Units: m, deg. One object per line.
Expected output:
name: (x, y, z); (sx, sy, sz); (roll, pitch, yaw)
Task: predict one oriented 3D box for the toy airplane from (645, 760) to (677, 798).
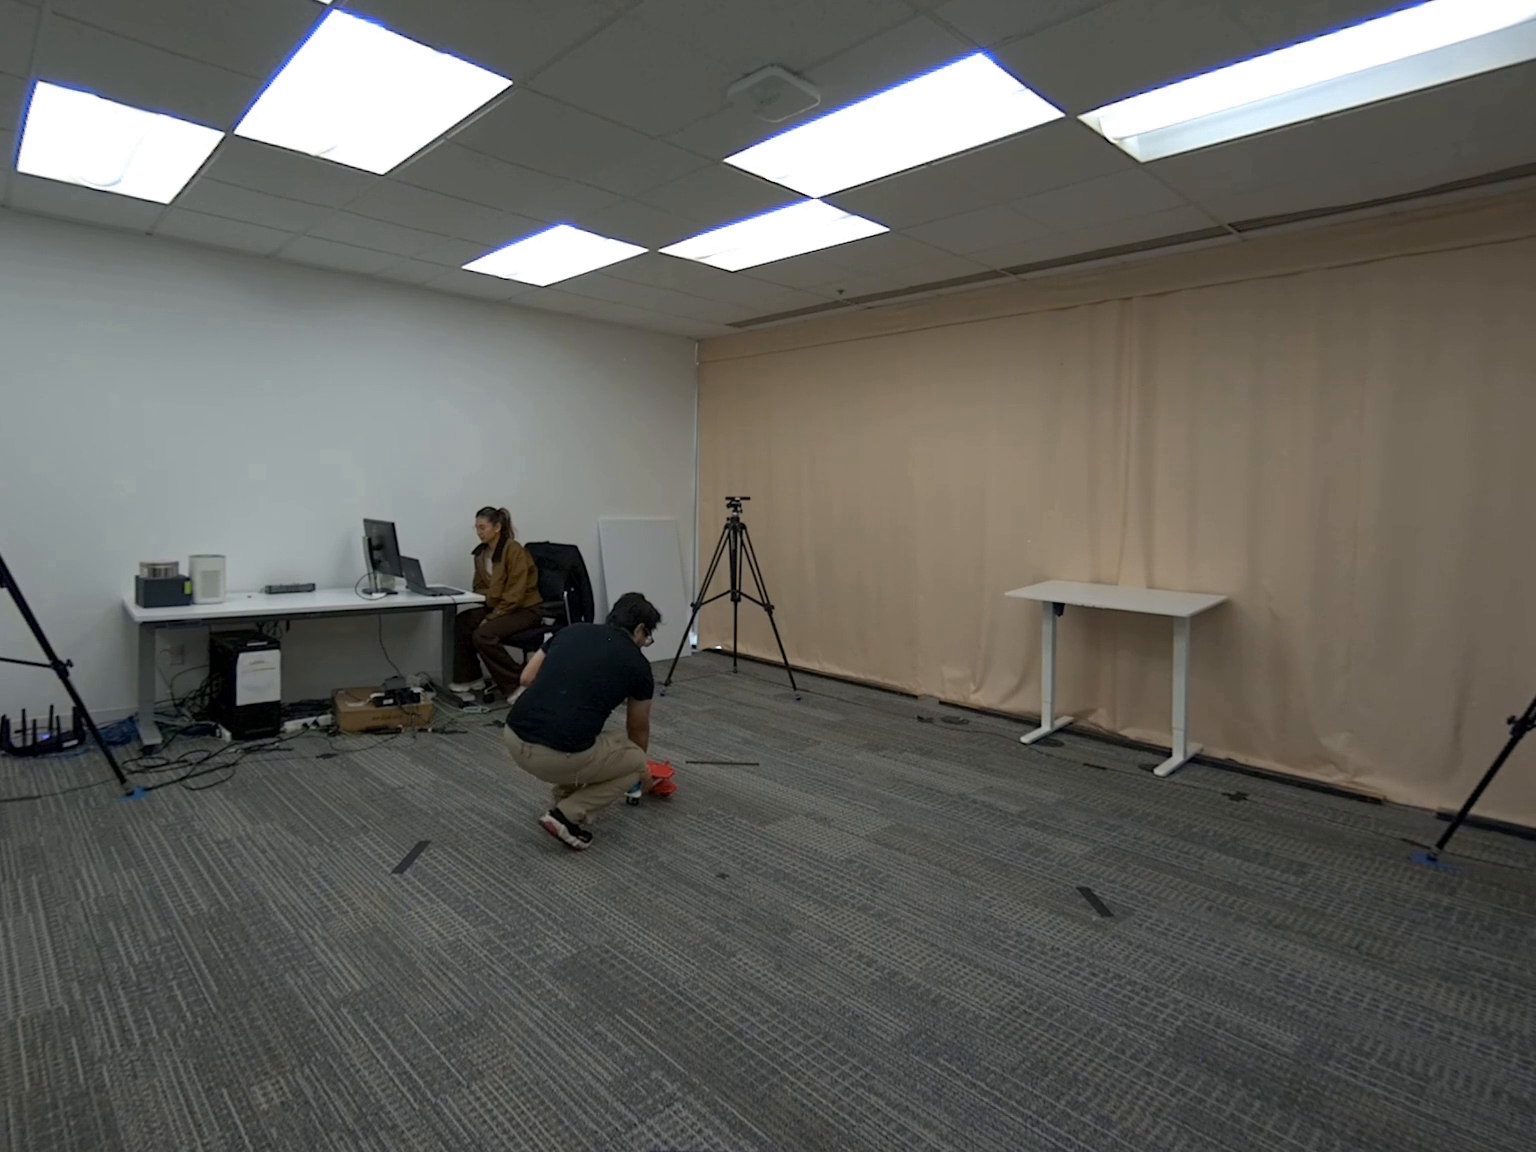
toy airplane: (-0.553, 0.955, 3.879); (0.252, 0.156, 0.258); (3, 4, 6)
